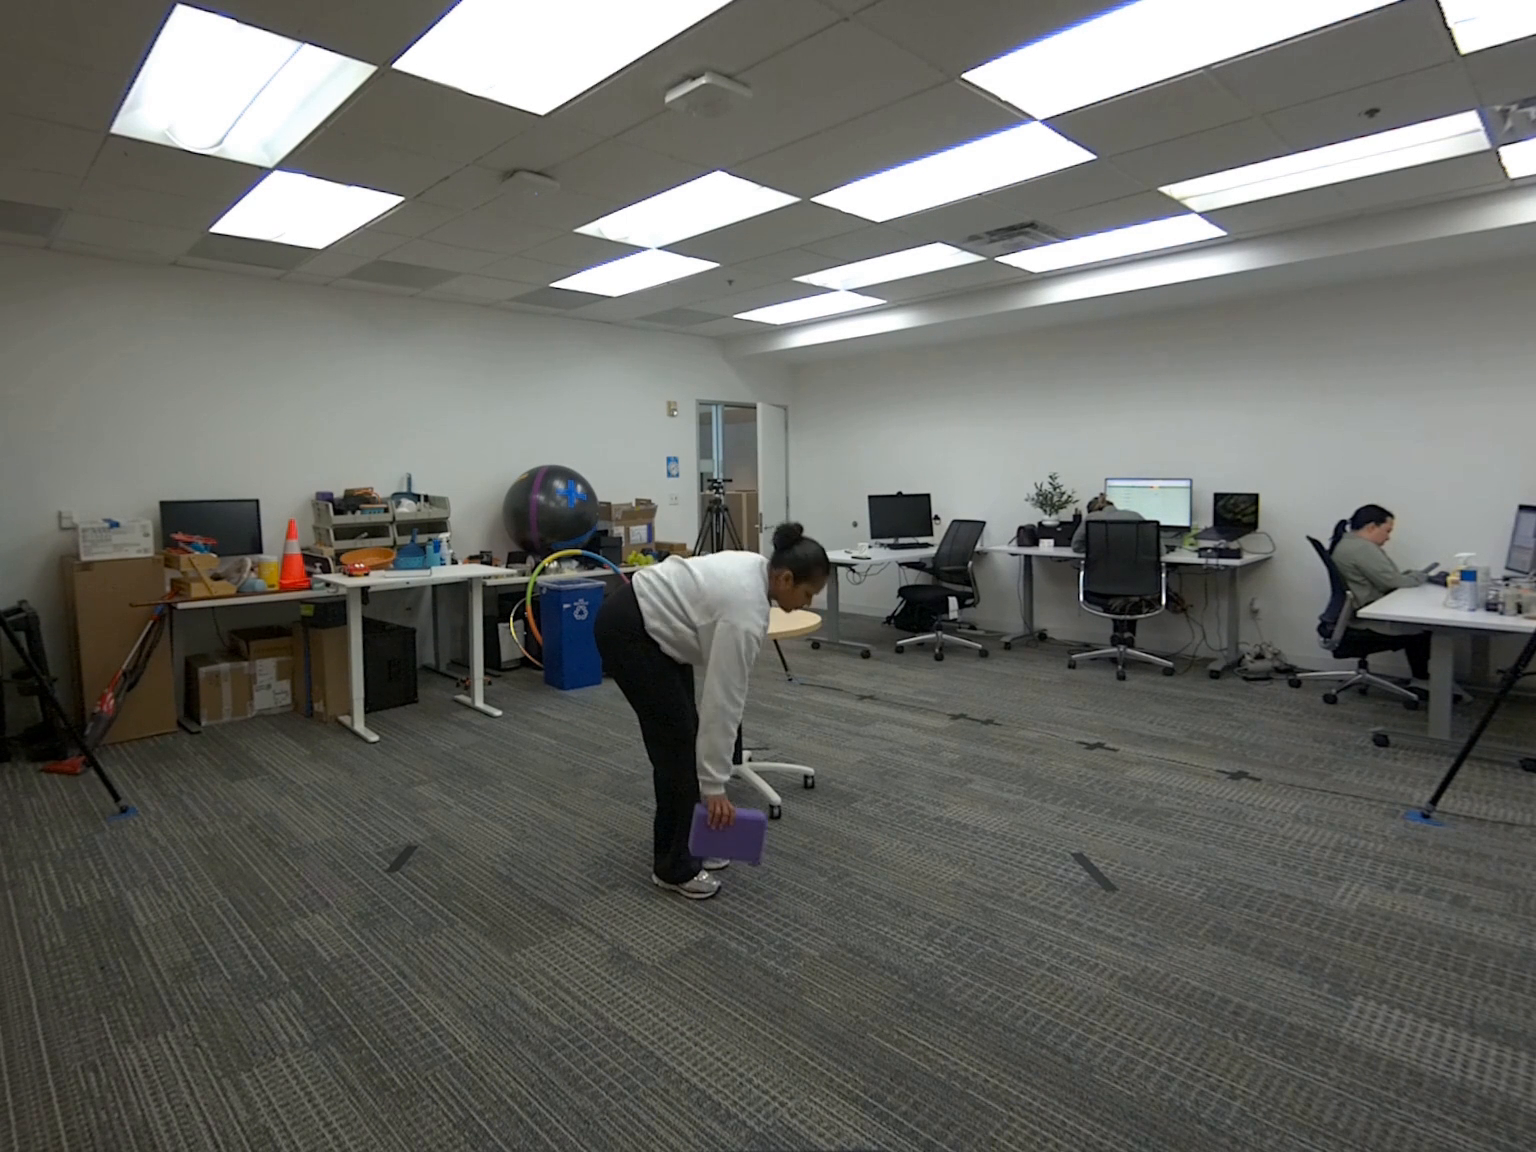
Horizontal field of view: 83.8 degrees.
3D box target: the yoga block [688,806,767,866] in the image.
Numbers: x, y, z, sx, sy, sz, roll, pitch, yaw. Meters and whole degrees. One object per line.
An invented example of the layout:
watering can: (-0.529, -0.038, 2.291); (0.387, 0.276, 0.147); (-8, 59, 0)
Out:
yoga block: (-0.129, 0.818, 2.729); (0.228, 0.148, 0.077); (7, 4, -7)
